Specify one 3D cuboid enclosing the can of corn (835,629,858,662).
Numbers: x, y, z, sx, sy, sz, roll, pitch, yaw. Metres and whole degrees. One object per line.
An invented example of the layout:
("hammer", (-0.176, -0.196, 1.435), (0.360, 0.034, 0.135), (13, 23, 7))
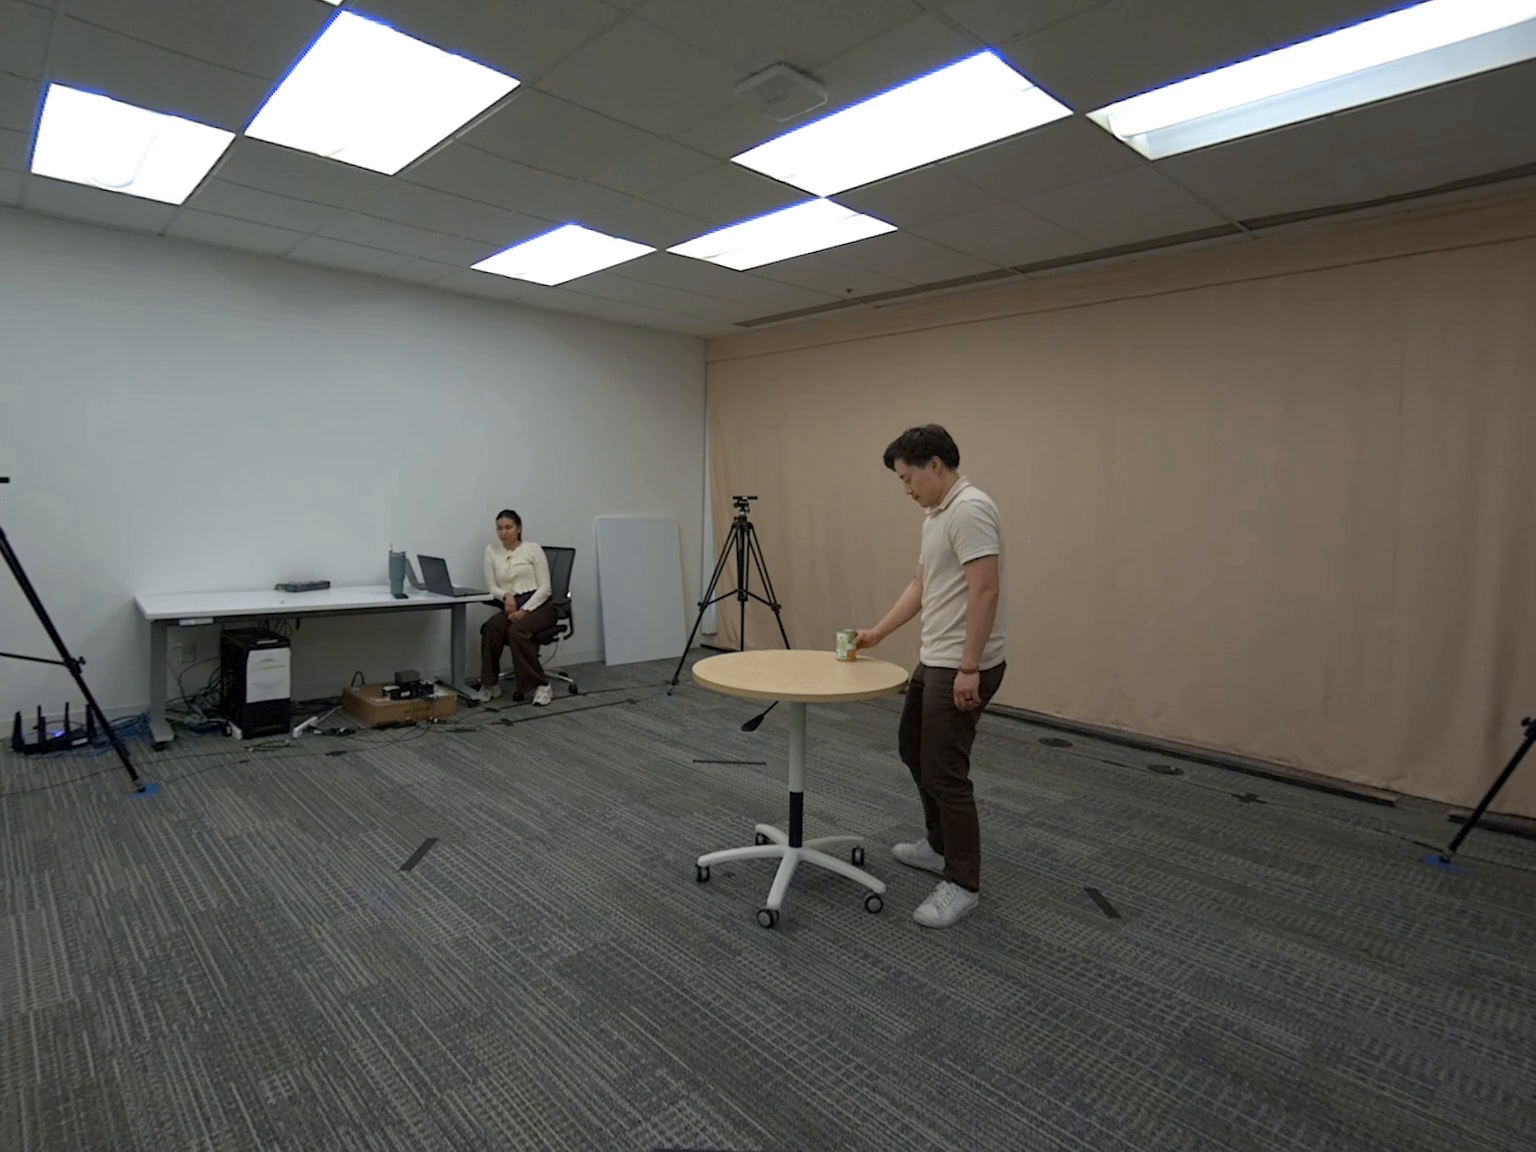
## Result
("can of corn", (0.303, 0.268, 3.188), (0.074, 0.111, 0.074), (6, 1, -2))
